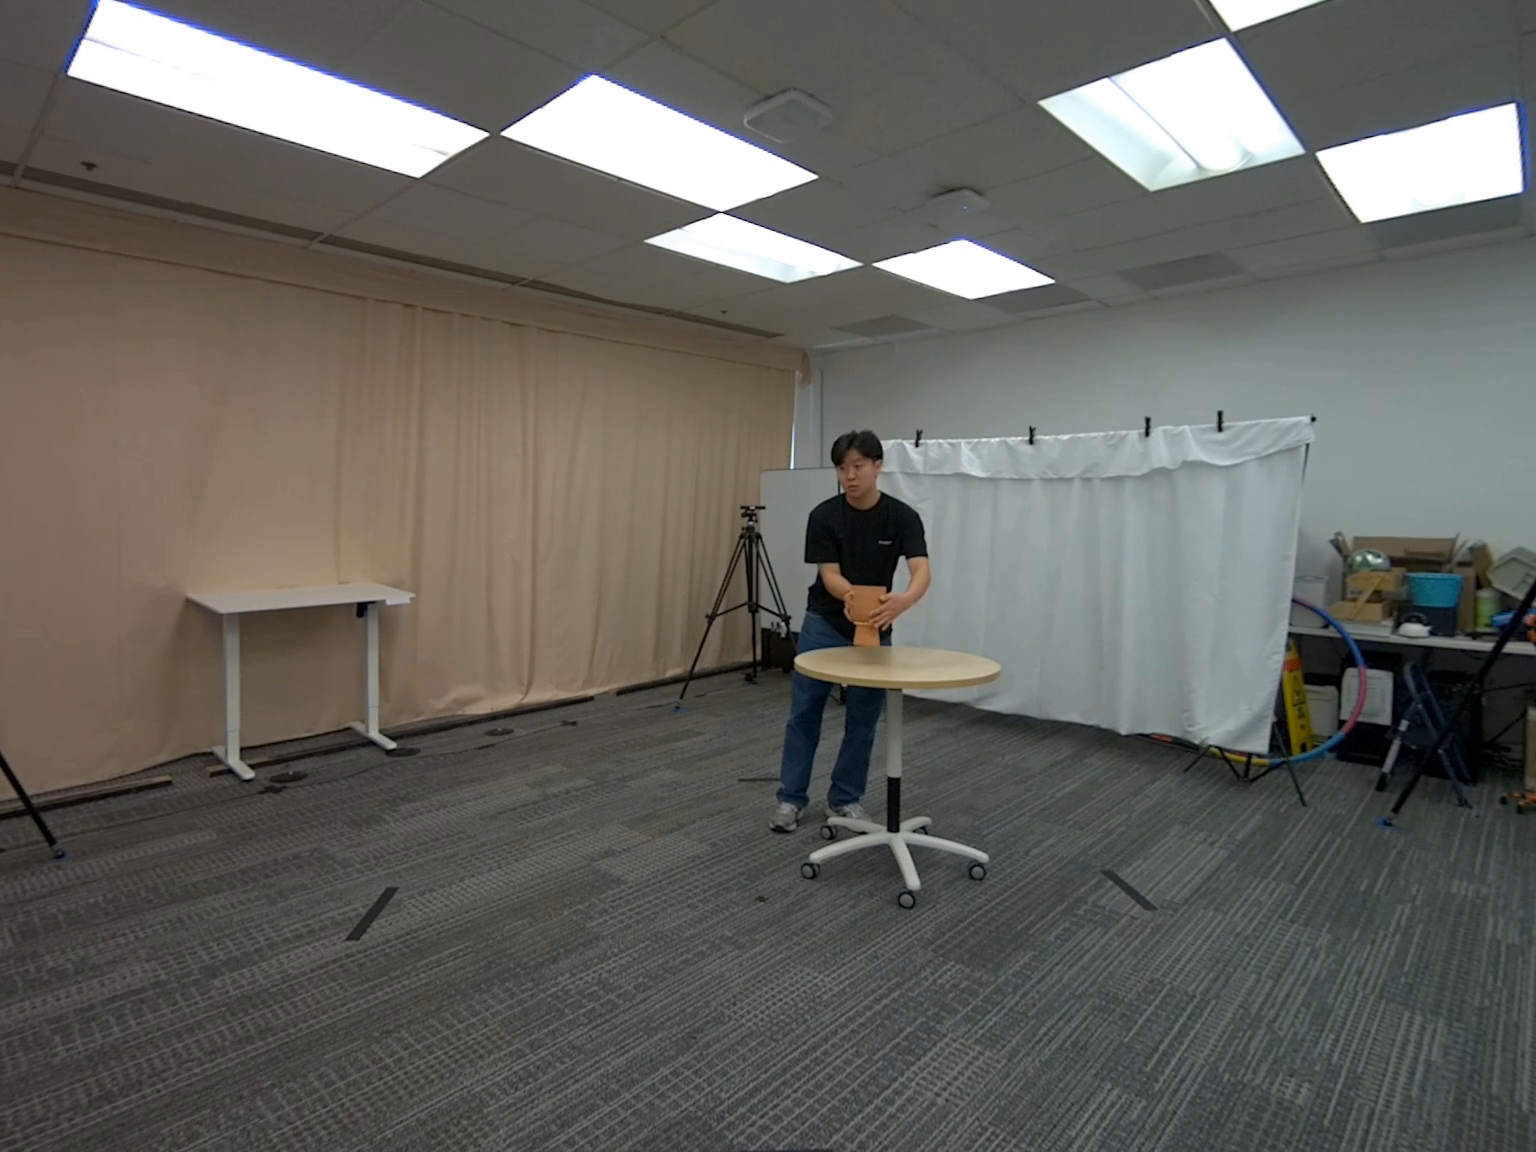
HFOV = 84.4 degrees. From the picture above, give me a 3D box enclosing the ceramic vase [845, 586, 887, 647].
[{"bbox_3d":[0.375,0.149,3.154,0.161,0.220,0.132,2,-1,13],"label":"ceramic vase"}]
